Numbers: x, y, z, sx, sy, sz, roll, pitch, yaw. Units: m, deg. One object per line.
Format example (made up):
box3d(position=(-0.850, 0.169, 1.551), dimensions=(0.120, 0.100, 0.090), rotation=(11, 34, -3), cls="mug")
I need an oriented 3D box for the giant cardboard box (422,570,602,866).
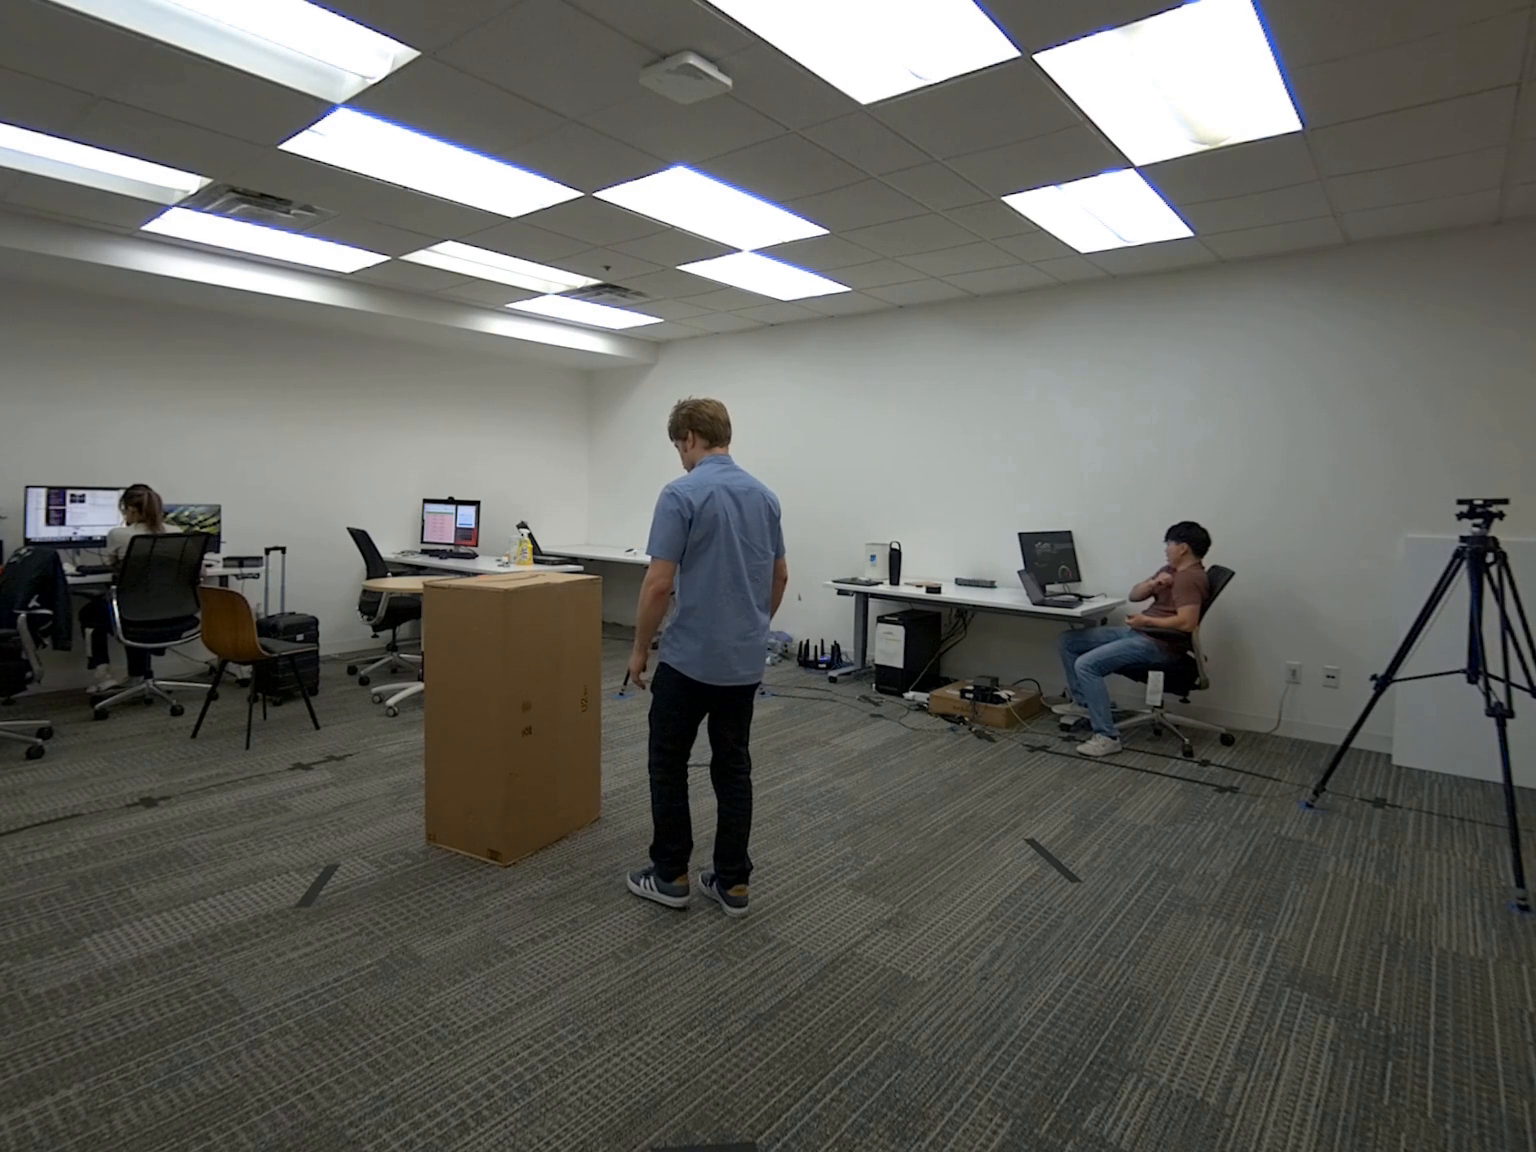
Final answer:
box3d(position=(-1.027, 0.520, 3.415), dimensions=(0.438, 1.023, 0.563), rotation=(2, 4, 29), cls="giant cardboard box")
